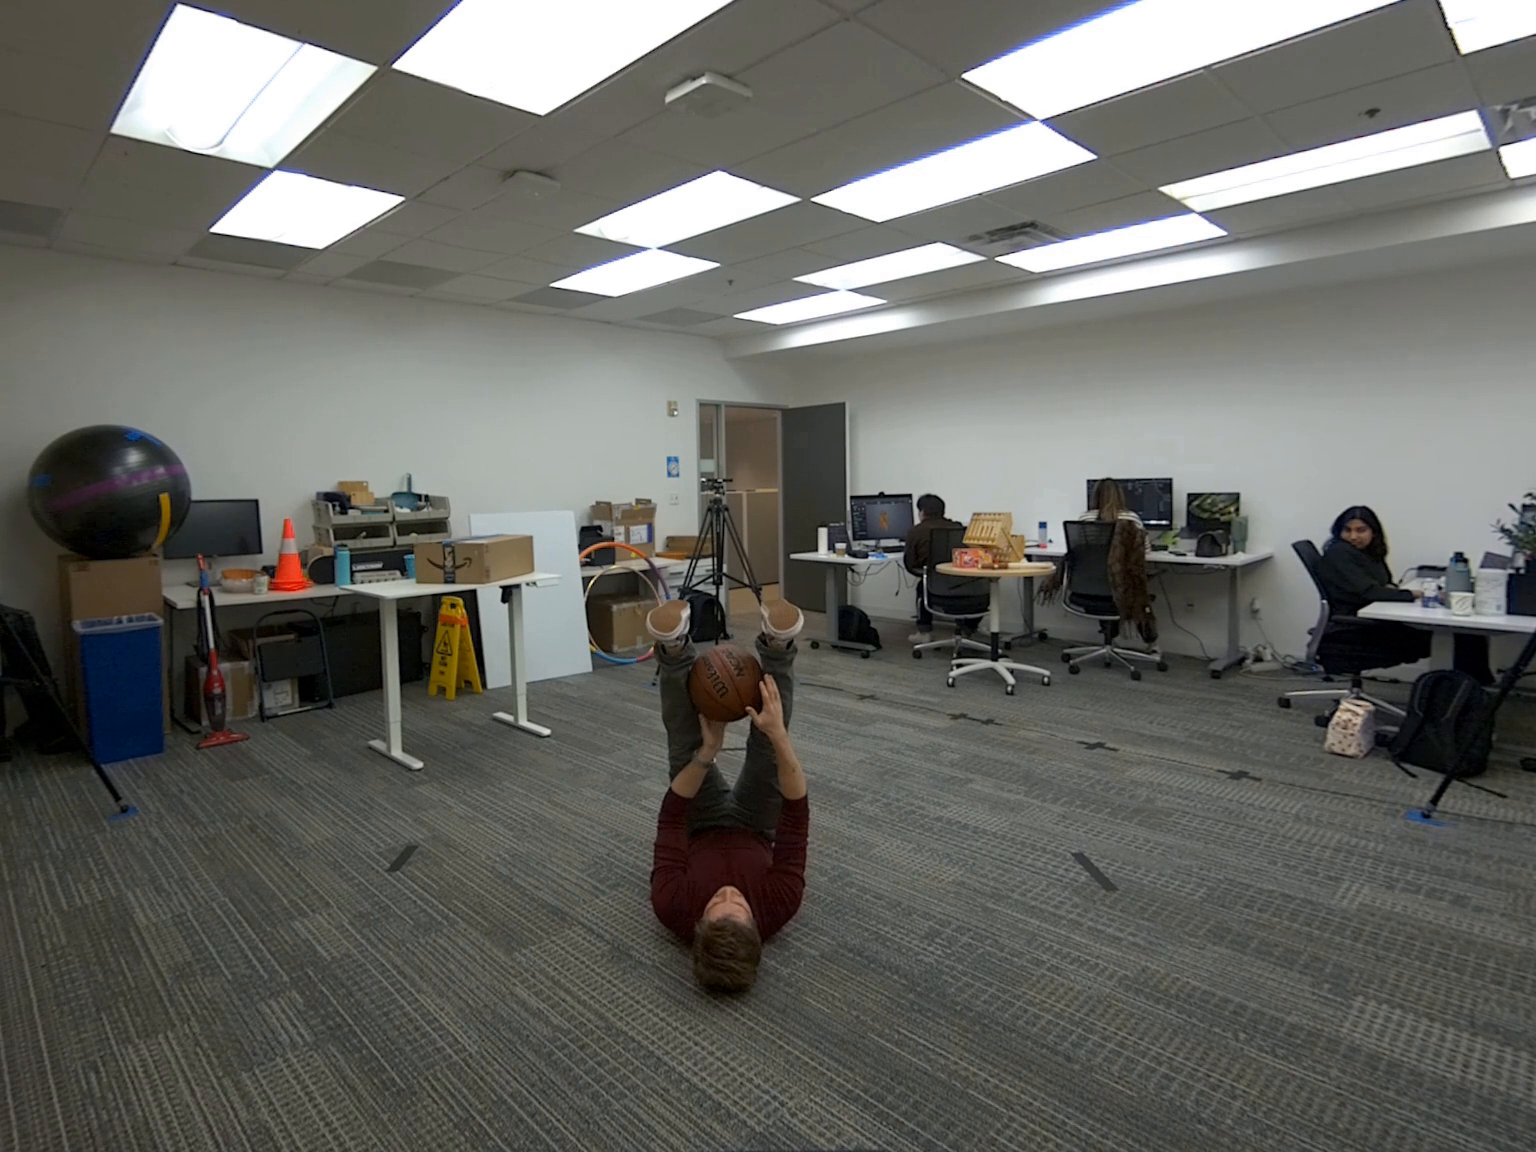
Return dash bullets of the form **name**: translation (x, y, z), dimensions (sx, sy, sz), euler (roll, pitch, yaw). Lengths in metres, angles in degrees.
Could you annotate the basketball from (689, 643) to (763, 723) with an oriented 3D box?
- **basketball**: translation (-0.119, 0.329, 2.657), dimensions (0.236, 0.235, 0.237), euler (-1, 5, -2)
